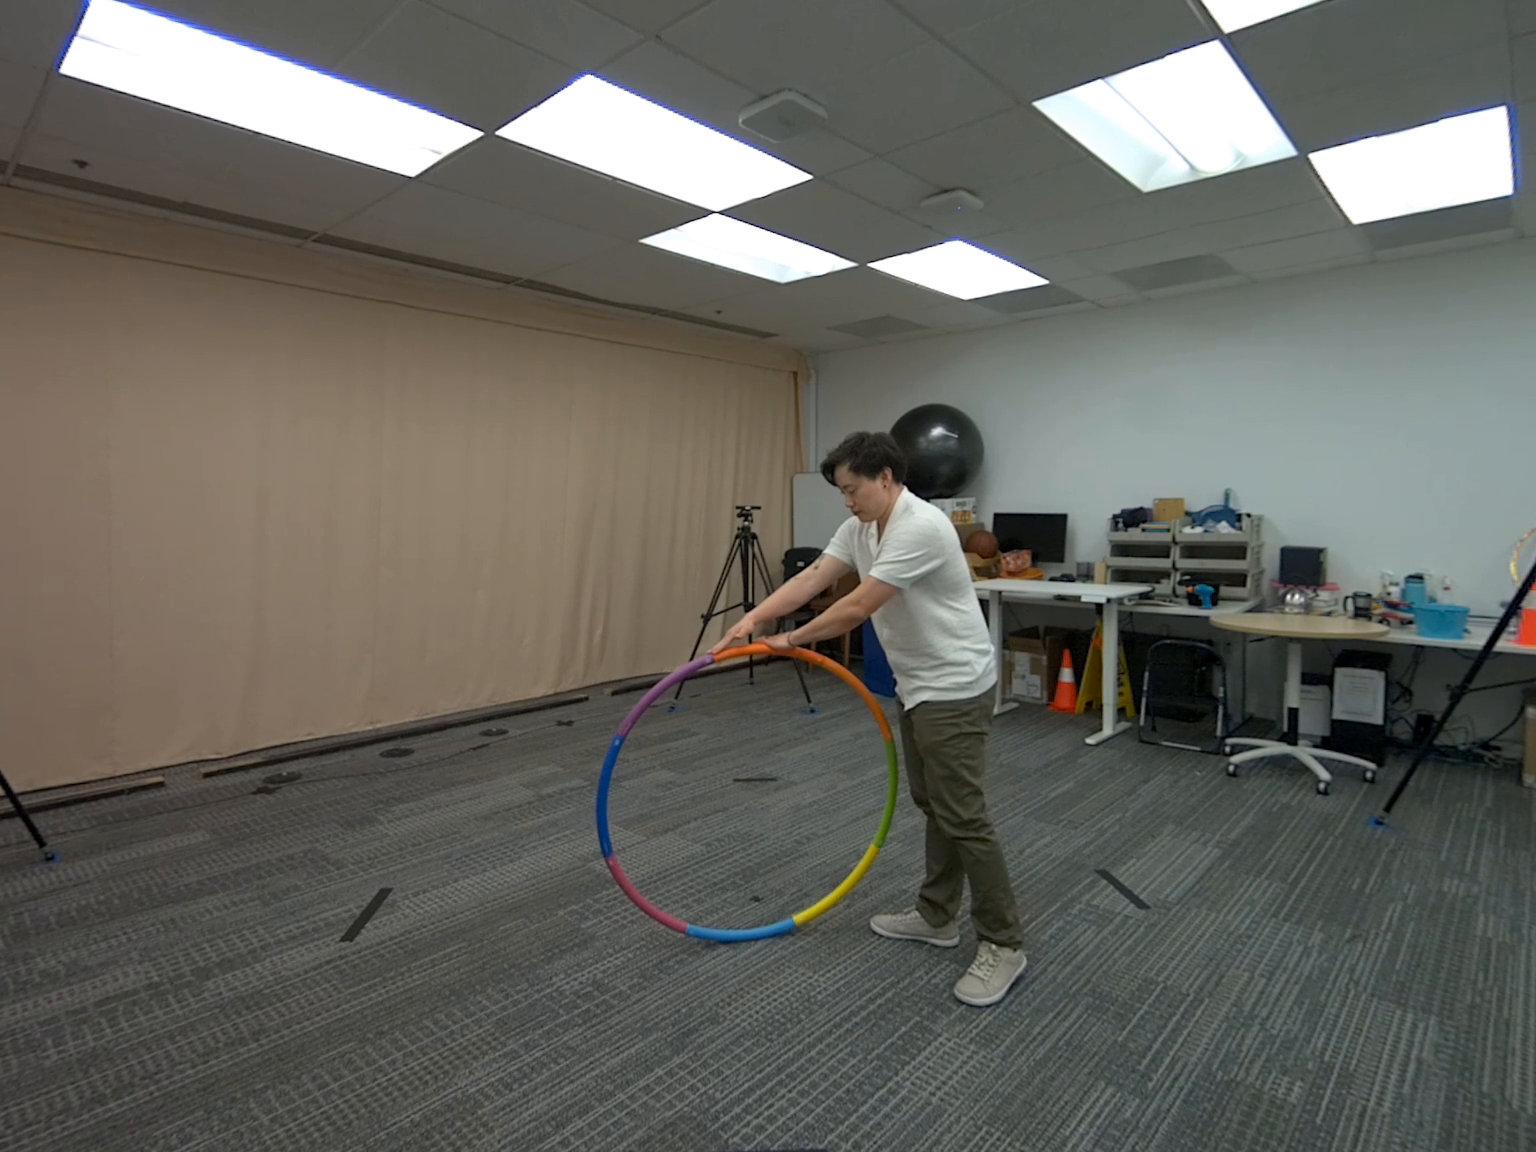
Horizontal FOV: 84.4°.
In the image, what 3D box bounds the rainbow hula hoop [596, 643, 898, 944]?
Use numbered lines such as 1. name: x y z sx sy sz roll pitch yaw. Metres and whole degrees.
1. rainbow hula hoop: -0.045 0.690 2.671 0.964 0.975 0.036 -1 5 -14
